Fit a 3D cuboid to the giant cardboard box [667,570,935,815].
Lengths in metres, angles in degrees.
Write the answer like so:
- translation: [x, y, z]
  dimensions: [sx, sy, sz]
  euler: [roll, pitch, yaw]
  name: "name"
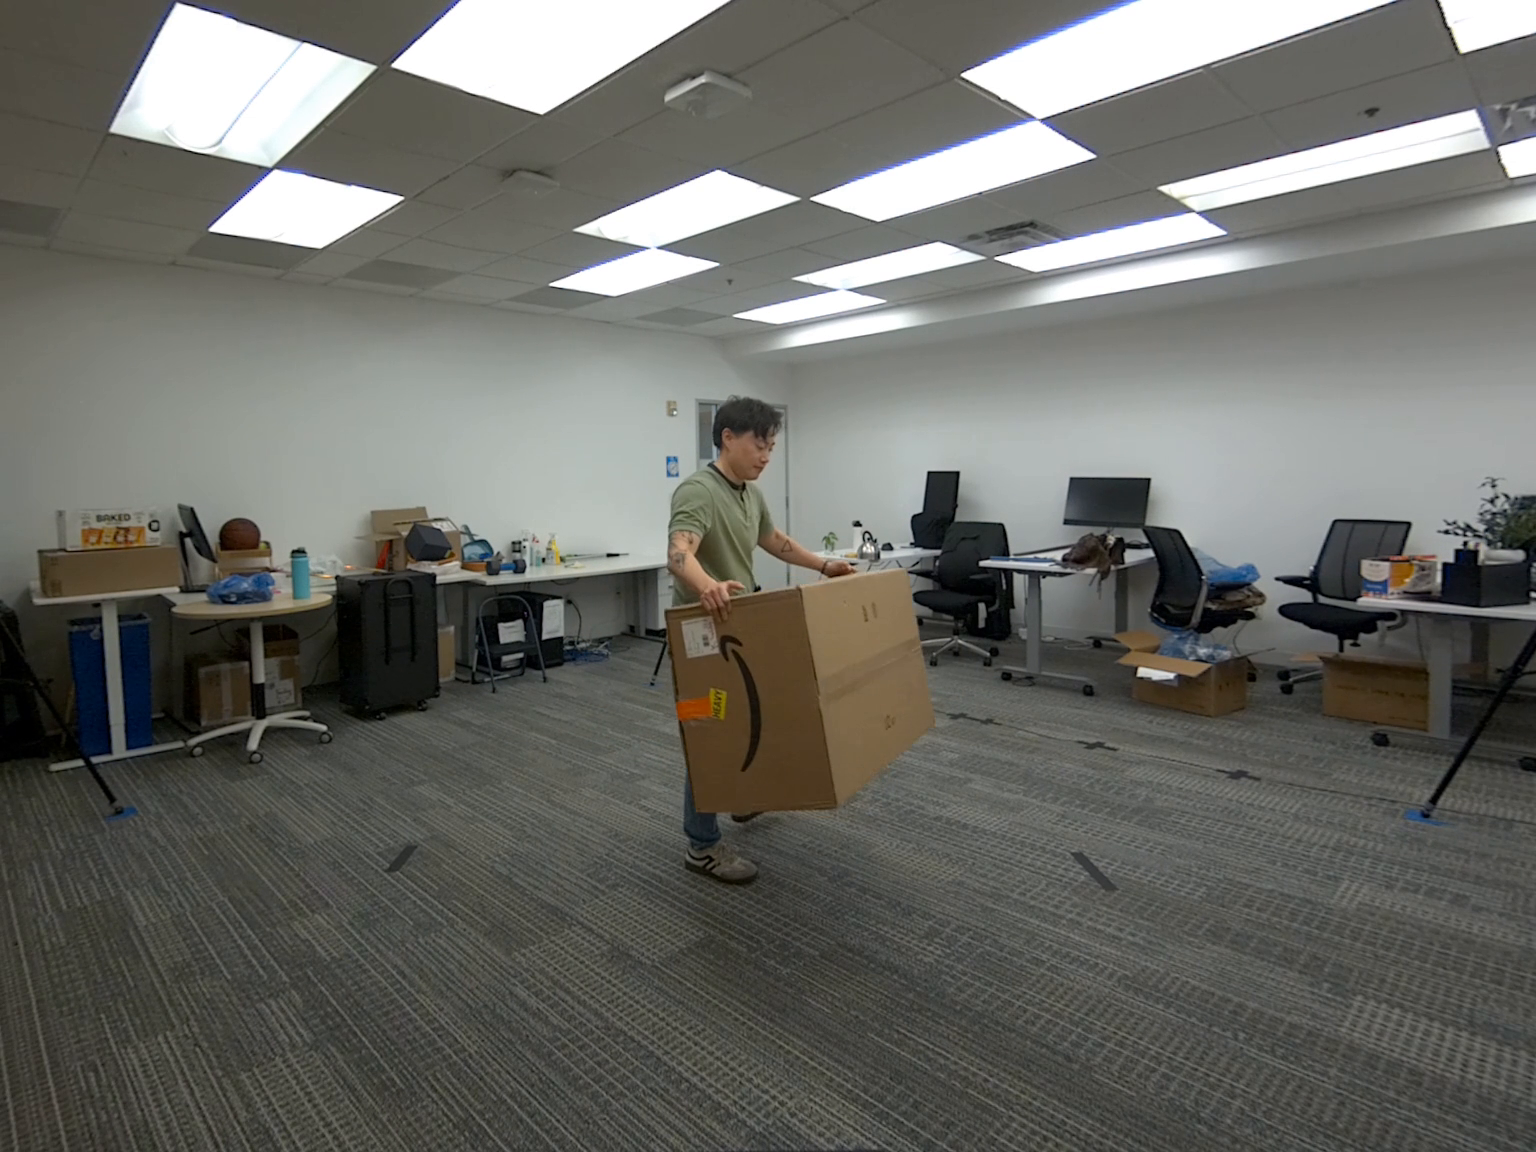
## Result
- translation: [0.150, 0.316, 2.740]
  dimensions: [0.434, 0.579, 1.004]
  euler: [-10, -2, 26]
  name: "giant cardboard box"
